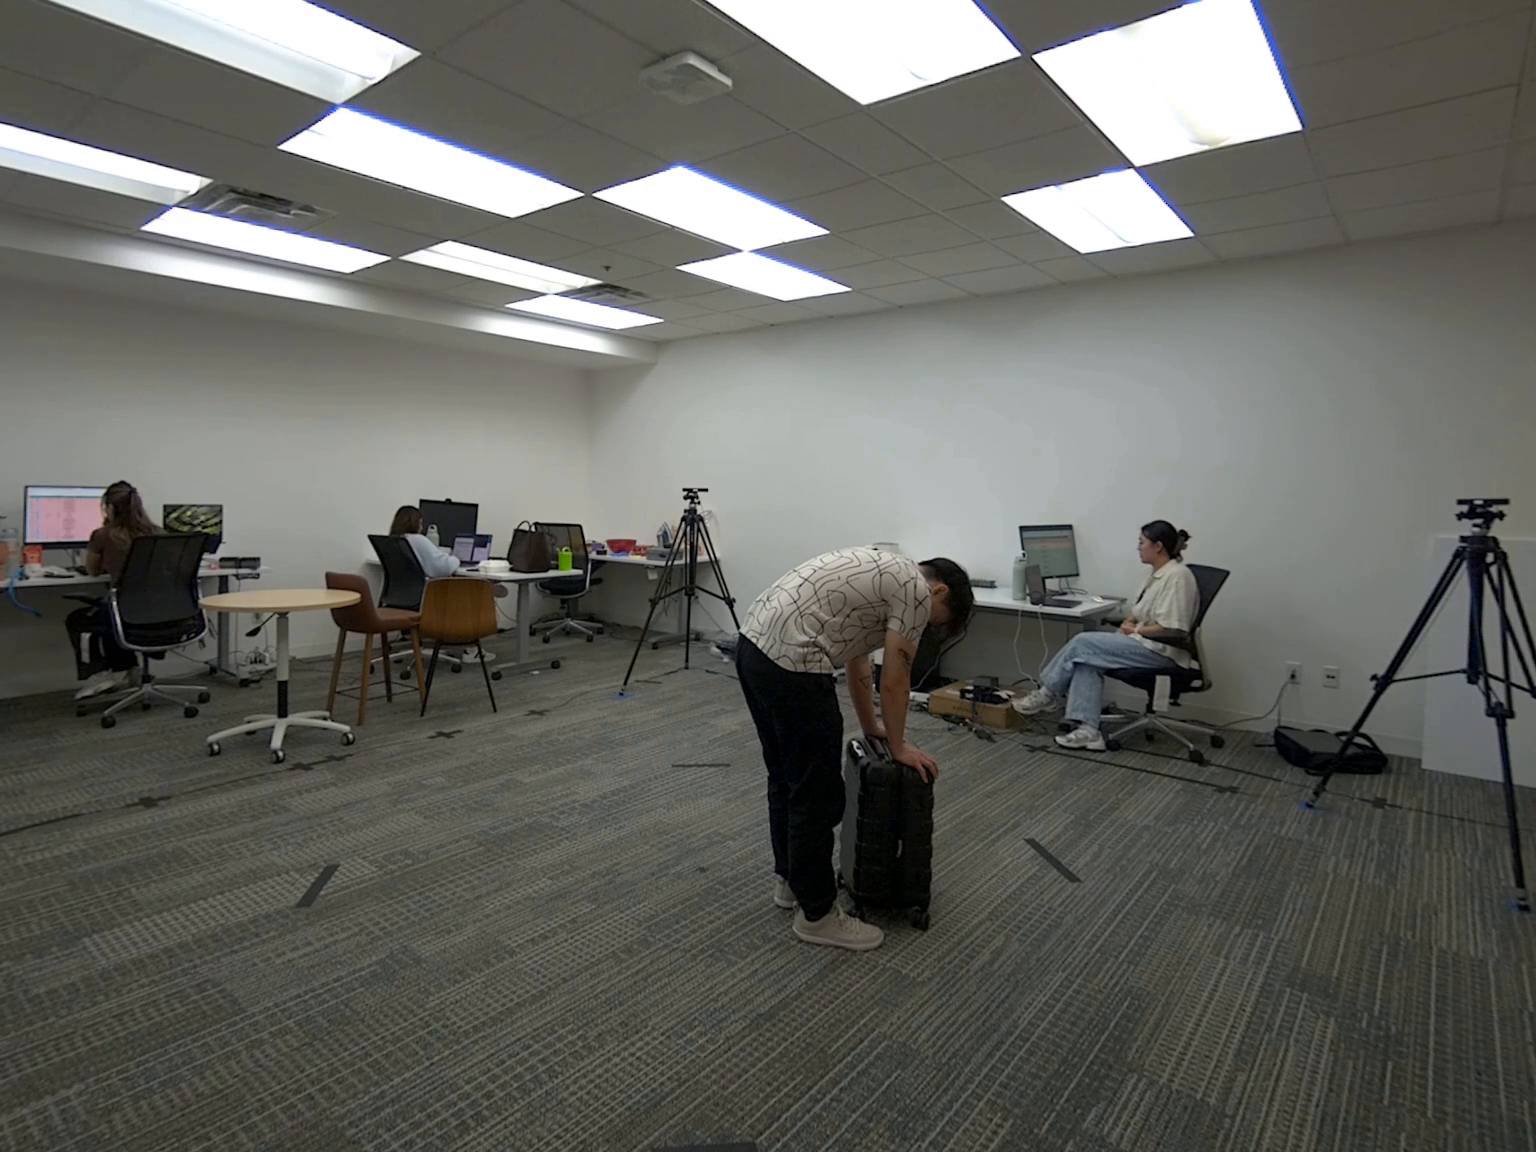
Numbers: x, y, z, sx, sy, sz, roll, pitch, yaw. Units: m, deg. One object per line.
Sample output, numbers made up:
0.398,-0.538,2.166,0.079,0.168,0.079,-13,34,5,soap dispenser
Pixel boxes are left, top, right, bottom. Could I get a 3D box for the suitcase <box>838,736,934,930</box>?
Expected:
0.395,0.831,2.877,0.248,0.548,0.377,3,2,-3,suitcase
